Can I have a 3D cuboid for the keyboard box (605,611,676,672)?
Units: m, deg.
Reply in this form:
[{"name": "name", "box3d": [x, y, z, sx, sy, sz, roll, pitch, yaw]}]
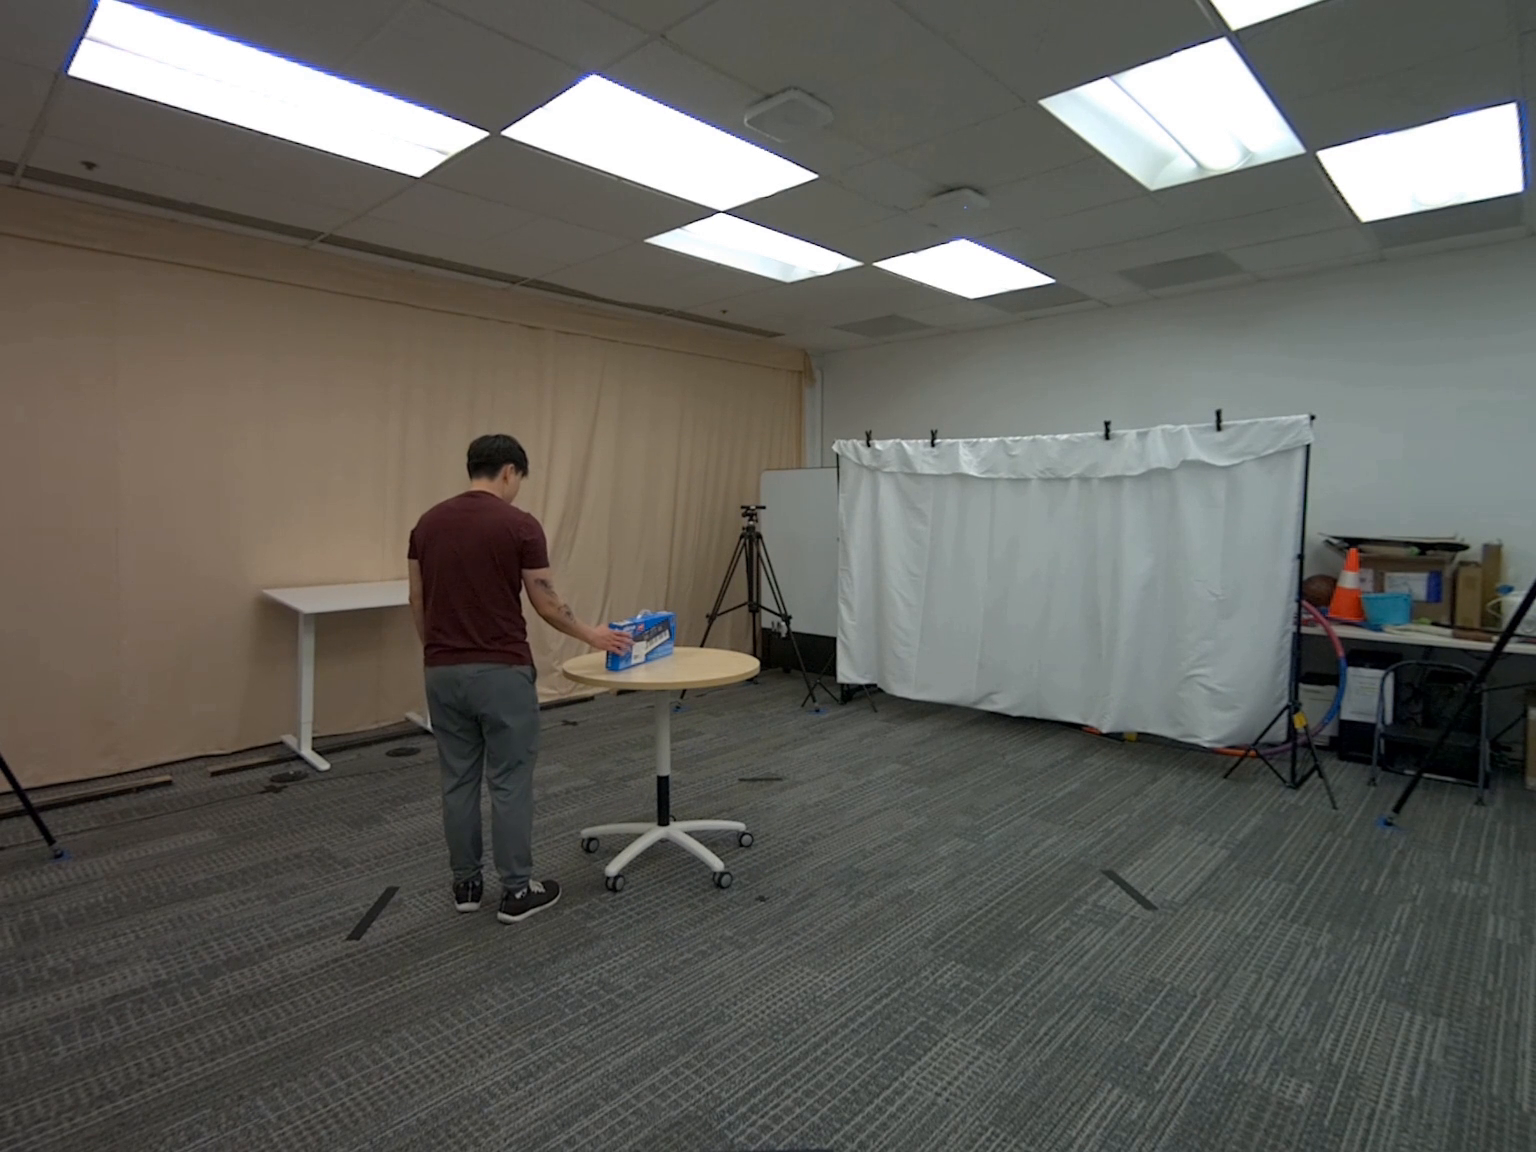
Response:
[{"name": "keyboard box", "box3d": [-0.492, 0.251, 3.313, 0.060, 0.175, 0.428, 8, 7, 21]}]
